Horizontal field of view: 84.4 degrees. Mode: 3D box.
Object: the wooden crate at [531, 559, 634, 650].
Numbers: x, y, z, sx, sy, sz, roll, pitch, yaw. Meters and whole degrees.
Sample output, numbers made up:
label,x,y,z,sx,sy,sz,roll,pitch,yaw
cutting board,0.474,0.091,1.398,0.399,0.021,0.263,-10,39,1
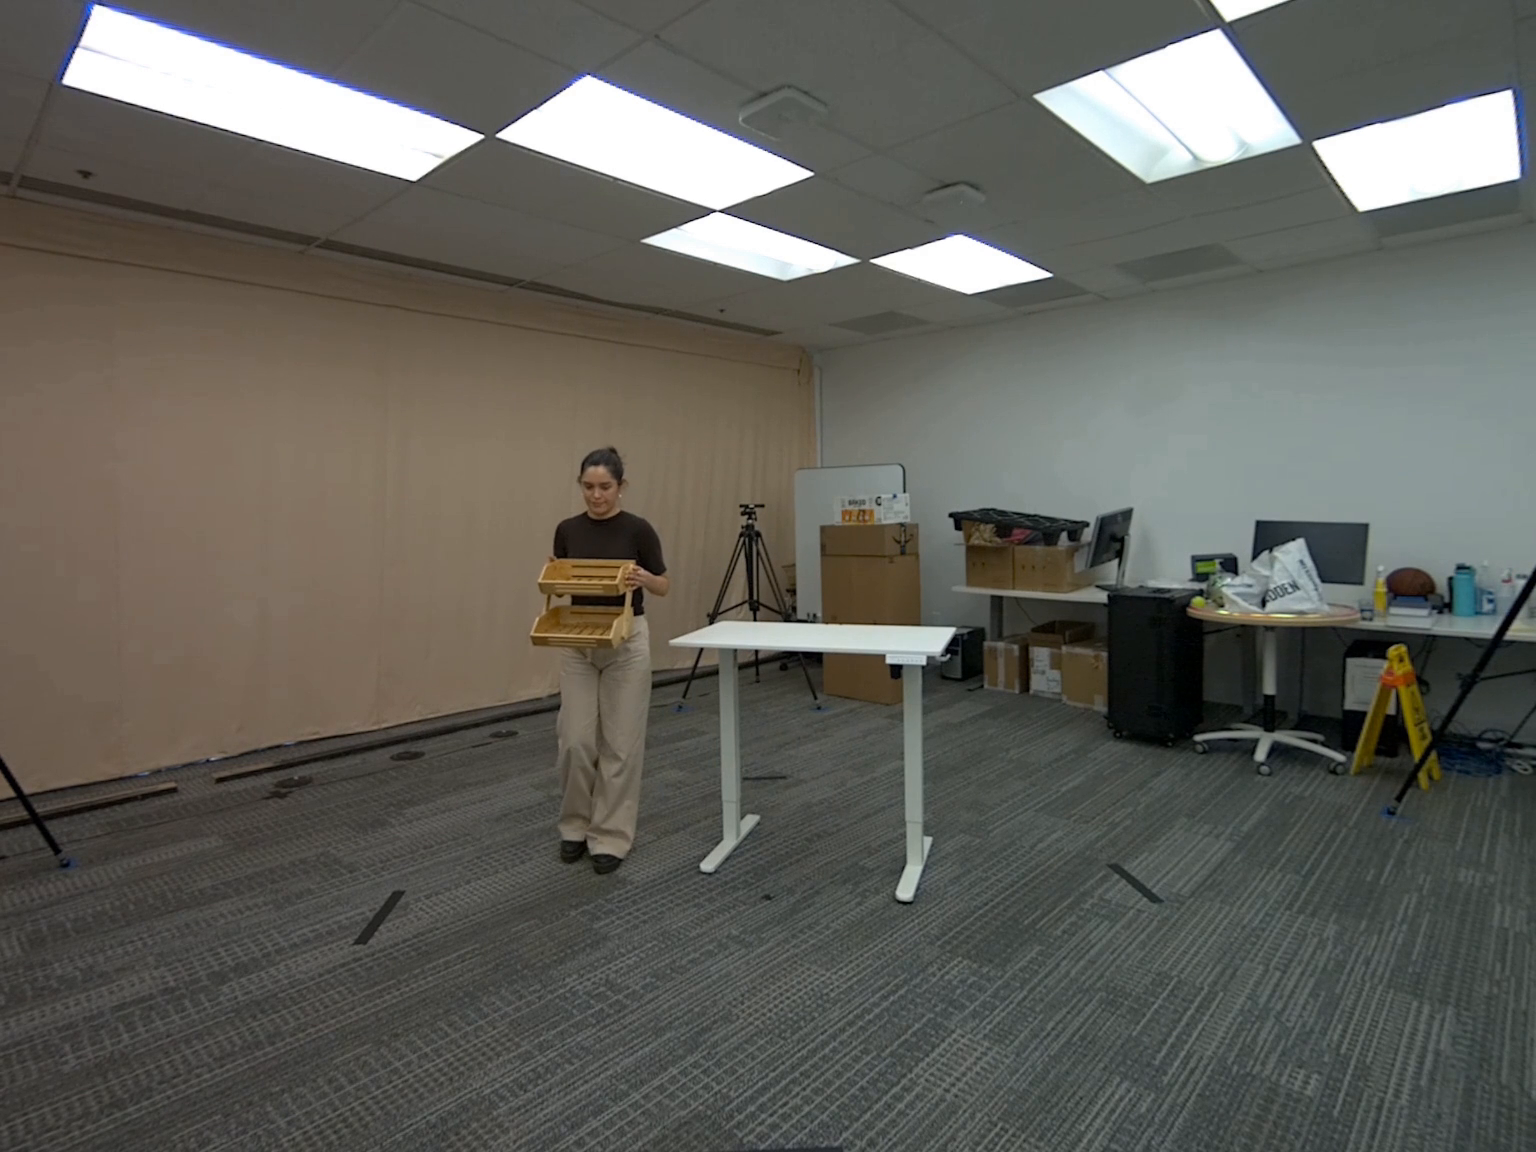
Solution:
label,x,y,z,sx,sy,sz,roll,pitch,yaw
wooden crate,-0.660,0.094,3.045,0.329,0.271,0.300,1,10,11
